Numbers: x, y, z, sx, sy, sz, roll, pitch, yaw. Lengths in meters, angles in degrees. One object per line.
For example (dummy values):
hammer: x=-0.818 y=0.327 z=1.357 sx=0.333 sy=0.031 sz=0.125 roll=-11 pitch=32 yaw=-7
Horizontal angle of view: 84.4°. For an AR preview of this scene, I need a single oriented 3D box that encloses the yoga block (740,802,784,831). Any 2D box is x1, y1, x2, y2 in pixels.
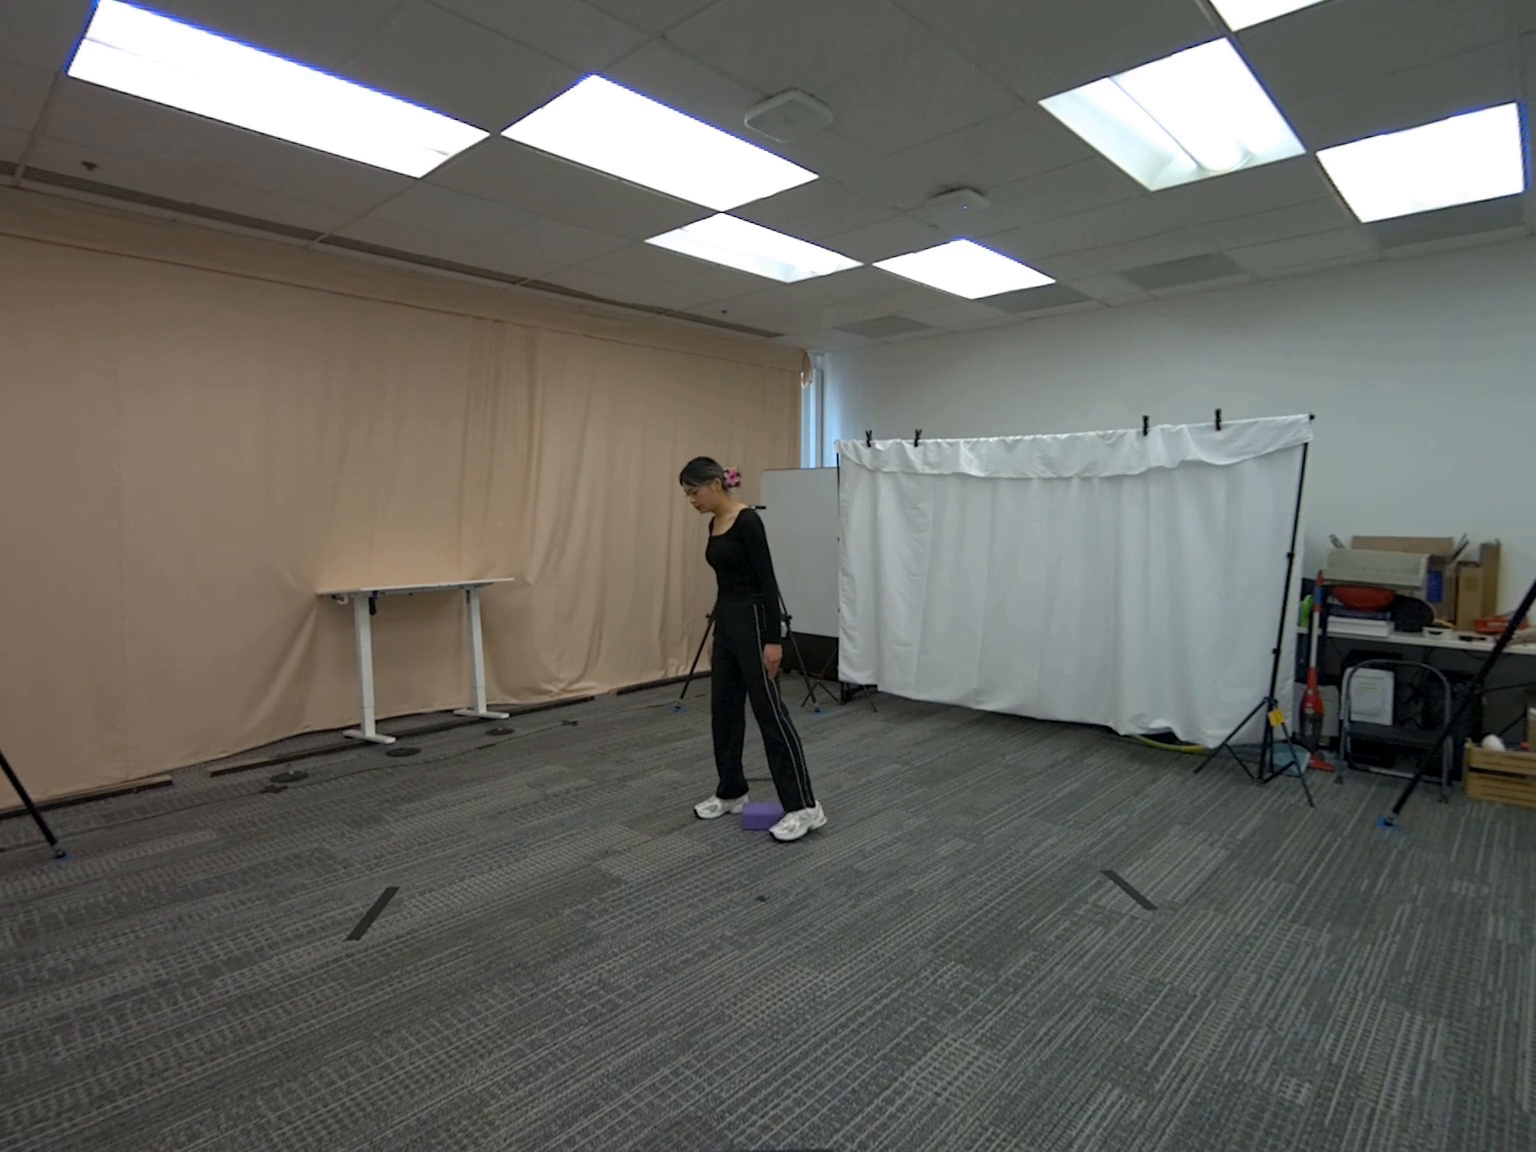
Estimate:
yoga block: x=0.002 y=1.046 z=3.673 sx=0.230 sy=0.076 sz=0.149 roll=1 pitch=4 yaw=2
